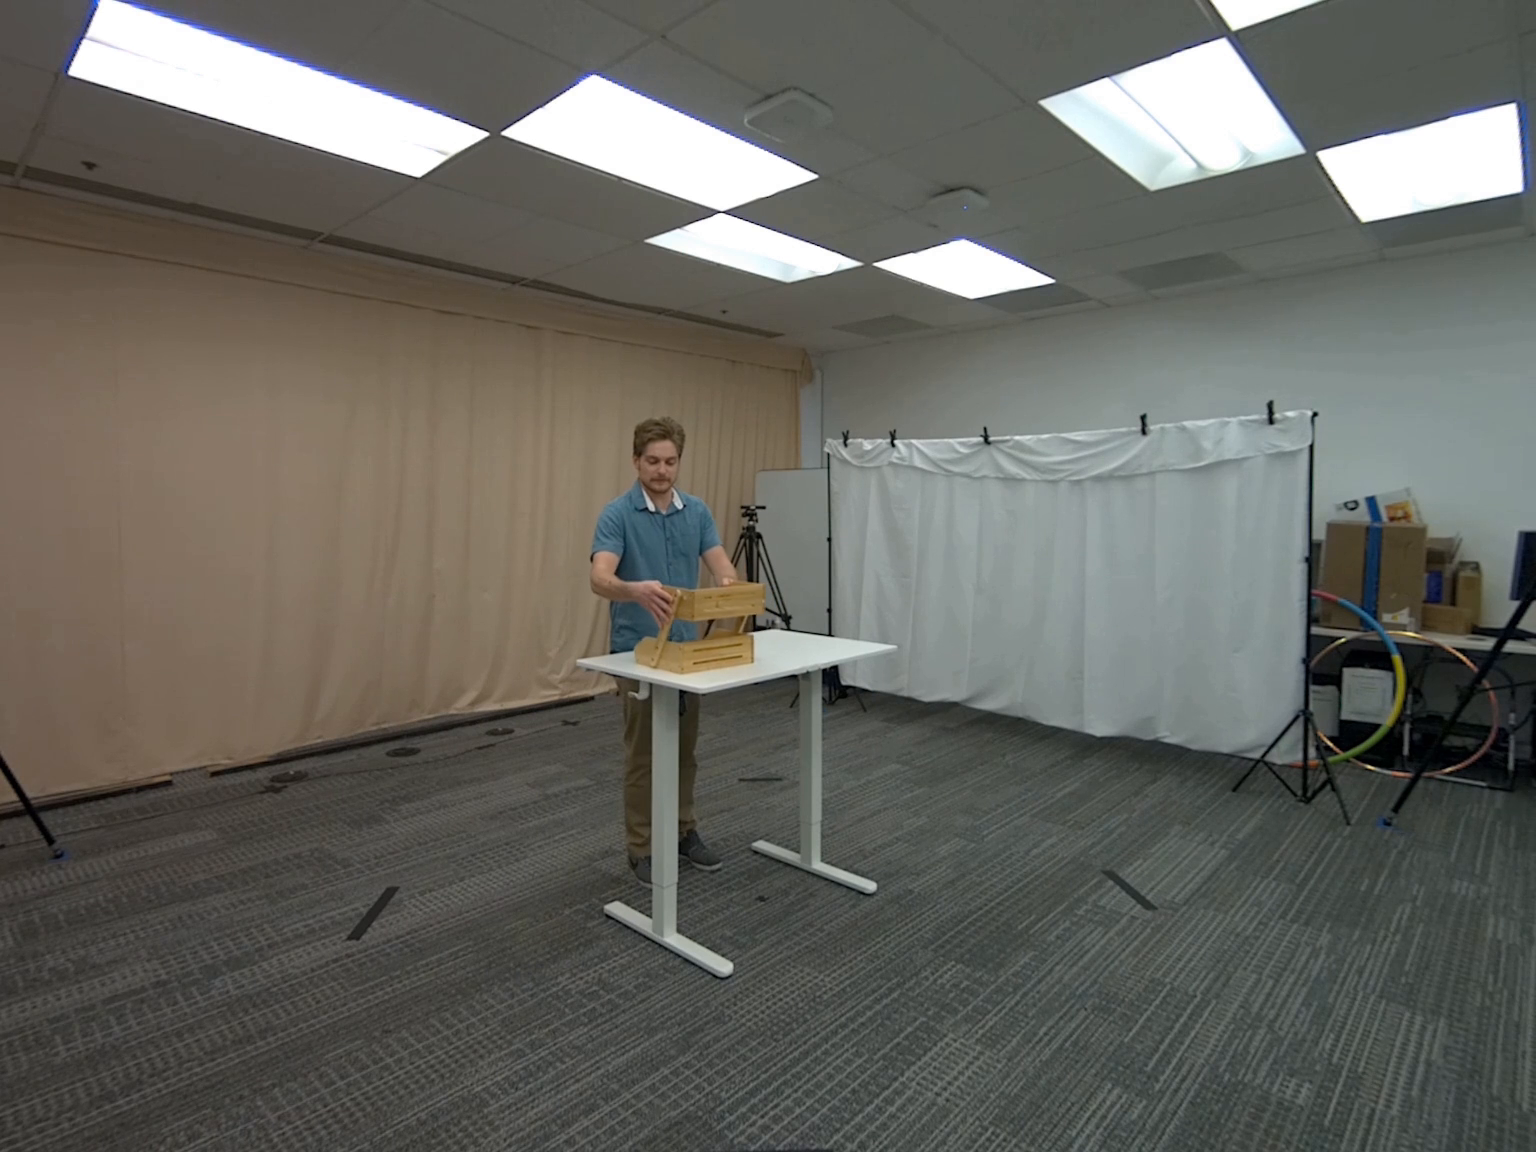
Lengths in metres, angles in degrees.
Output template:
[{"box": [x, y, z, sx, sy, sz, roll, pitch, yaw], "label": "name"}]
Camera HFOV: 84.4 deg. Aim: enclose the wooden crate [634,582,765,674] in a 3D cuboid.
[{"box": [-0.218, 0.154, 2.702, 0.314, 0.272, 0.312, -3, 6, -42], "label": "wooden crate"}]
